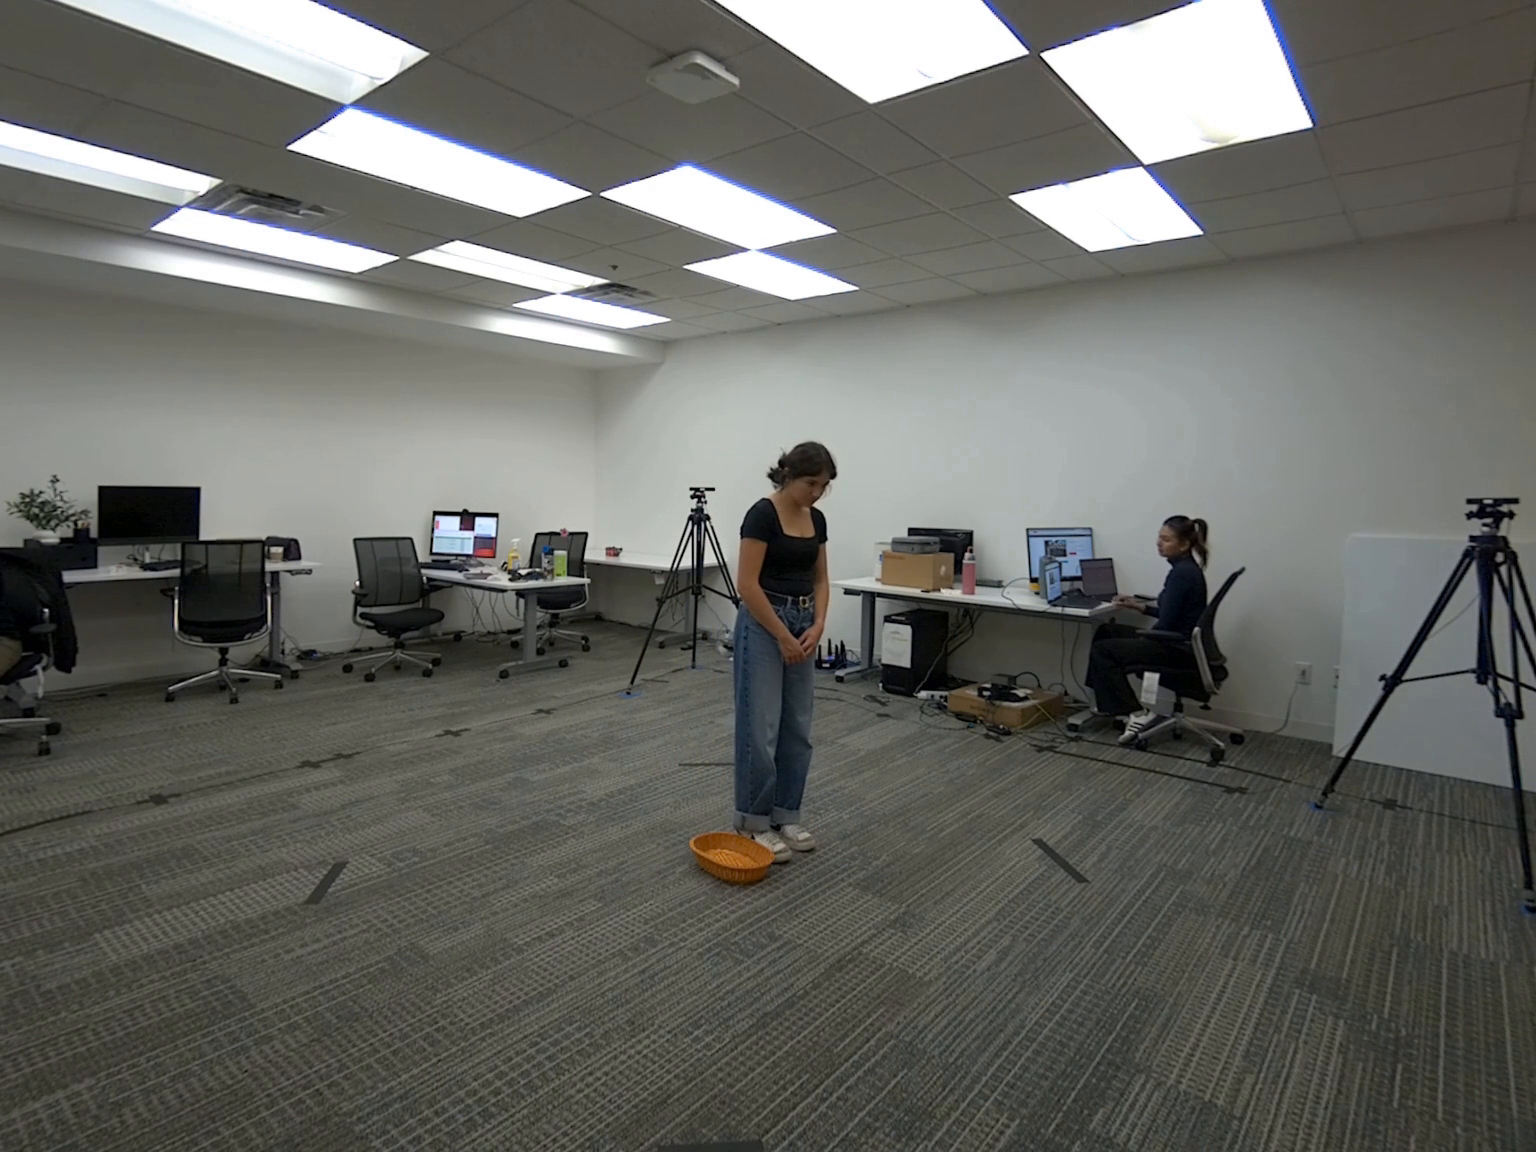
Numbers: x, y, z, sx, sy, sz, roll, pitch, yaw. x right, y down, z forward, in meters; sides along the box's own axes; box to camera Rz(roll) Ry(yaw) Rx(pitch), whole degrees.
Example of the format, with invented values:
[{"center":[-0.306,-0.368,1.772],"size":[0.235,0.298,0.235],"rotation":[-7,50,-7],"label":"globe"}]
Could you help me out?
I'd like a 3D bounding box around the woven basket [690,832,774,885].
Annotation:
[{"center":[-0.143,1.026,3.117],"size":[0.245,0.073,0.362],"rotation":[-2,5,-38],"label":"woven basket"}]
